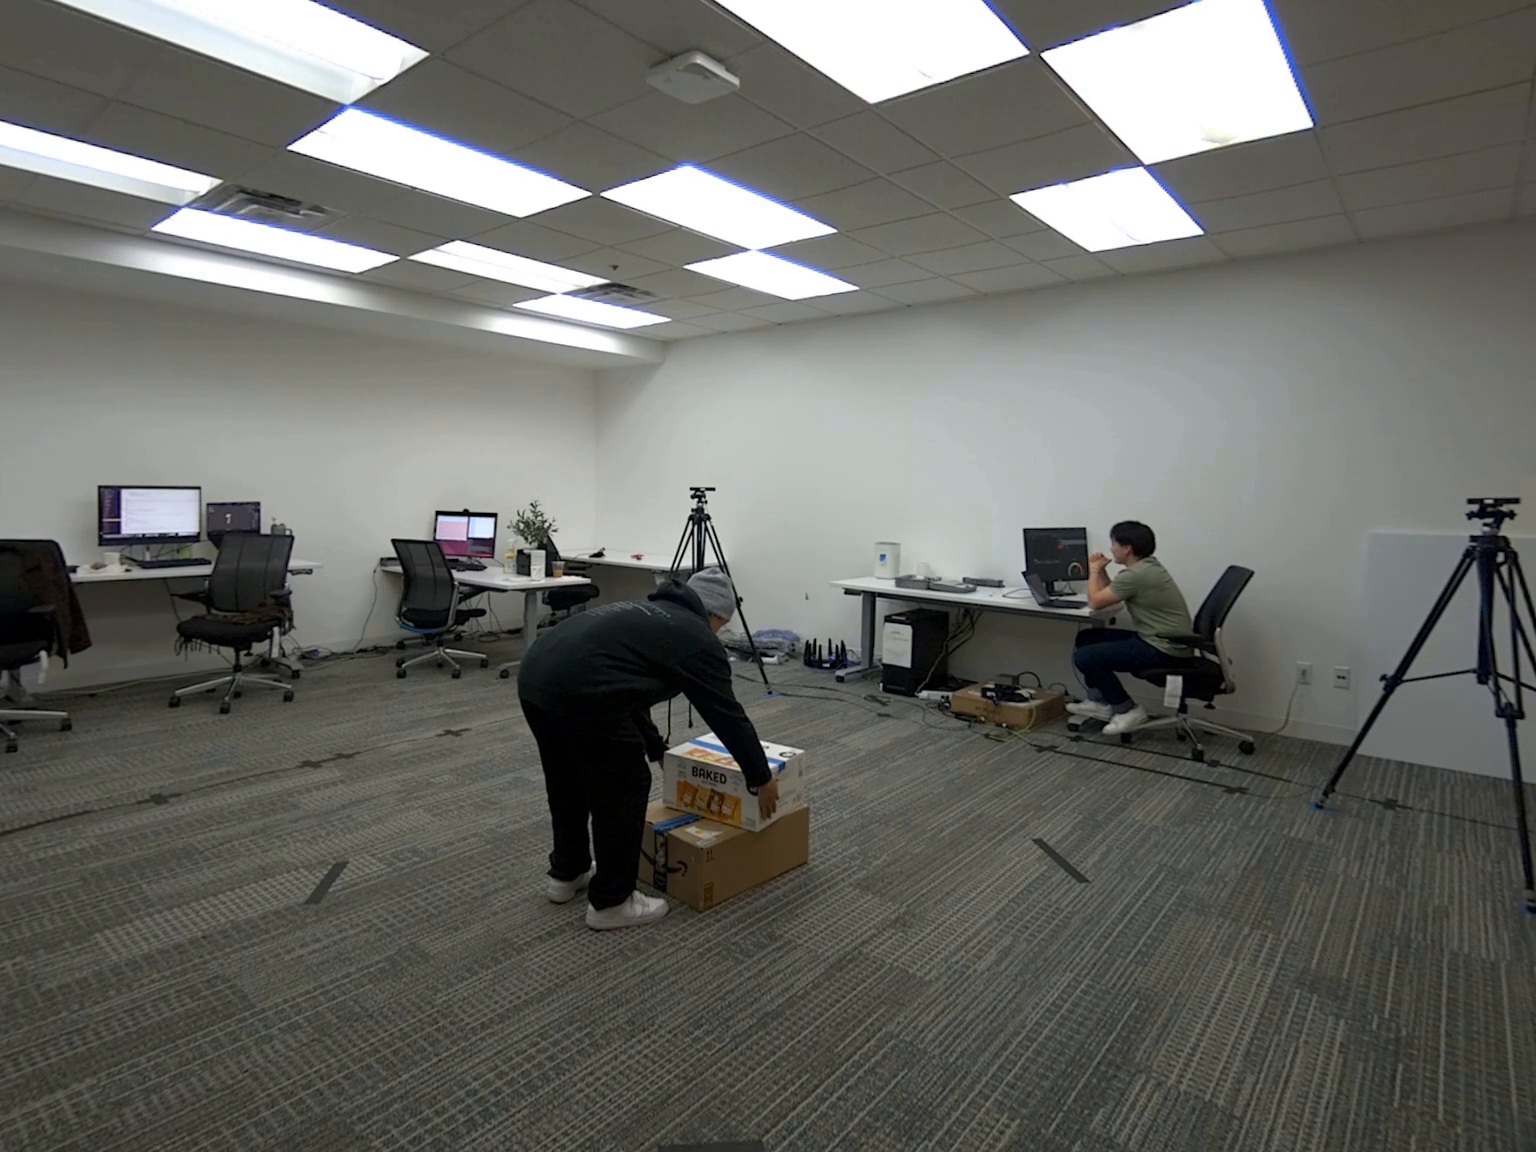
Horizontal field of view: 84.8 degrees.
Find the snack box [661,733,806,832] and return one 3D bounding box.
[{"bbox_3d":[-0.135,0.743,3.141,0.418,0.205,0.331,5,6,32],"label":"snack box"}]
